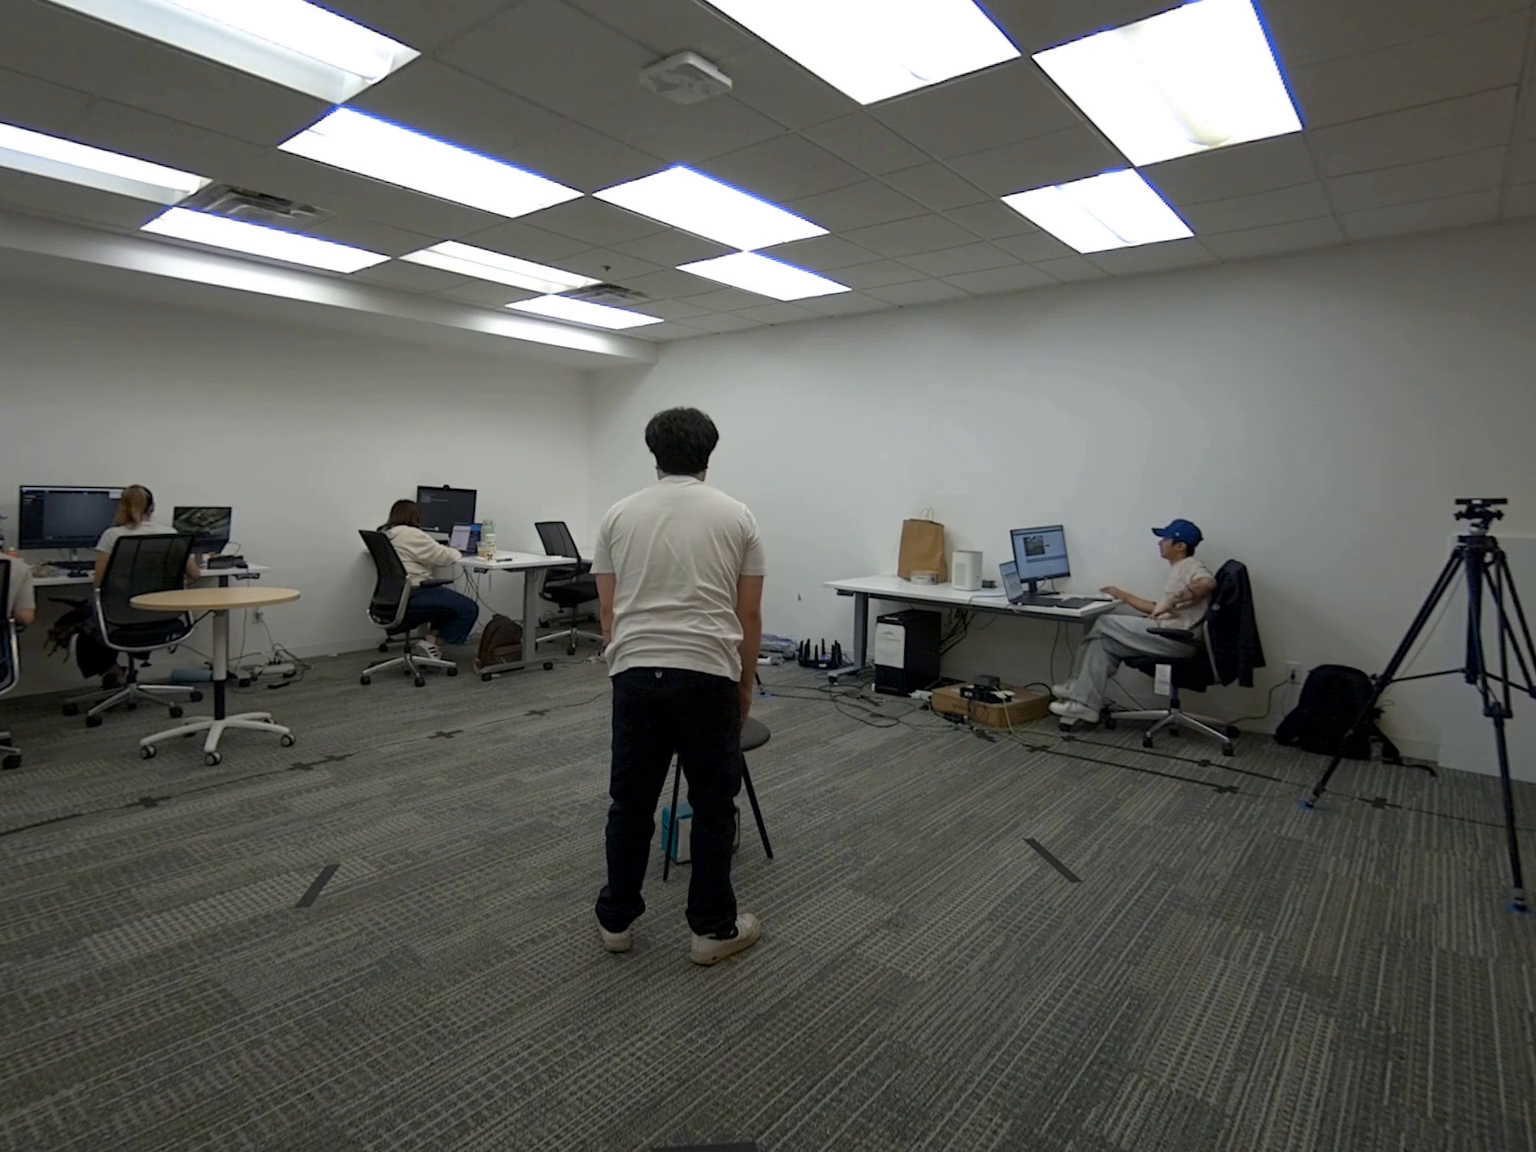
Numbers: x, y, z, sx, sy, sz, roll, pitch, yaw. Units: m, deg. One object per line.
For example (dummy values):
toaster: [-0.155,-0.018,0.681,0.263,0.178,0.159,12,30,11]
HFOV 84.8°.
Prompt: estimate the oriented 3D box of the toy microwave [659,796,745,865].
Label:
toy microwave: [-0.257,0.960,3.238,0.279,0.183,0.157,-2,5,-29]
